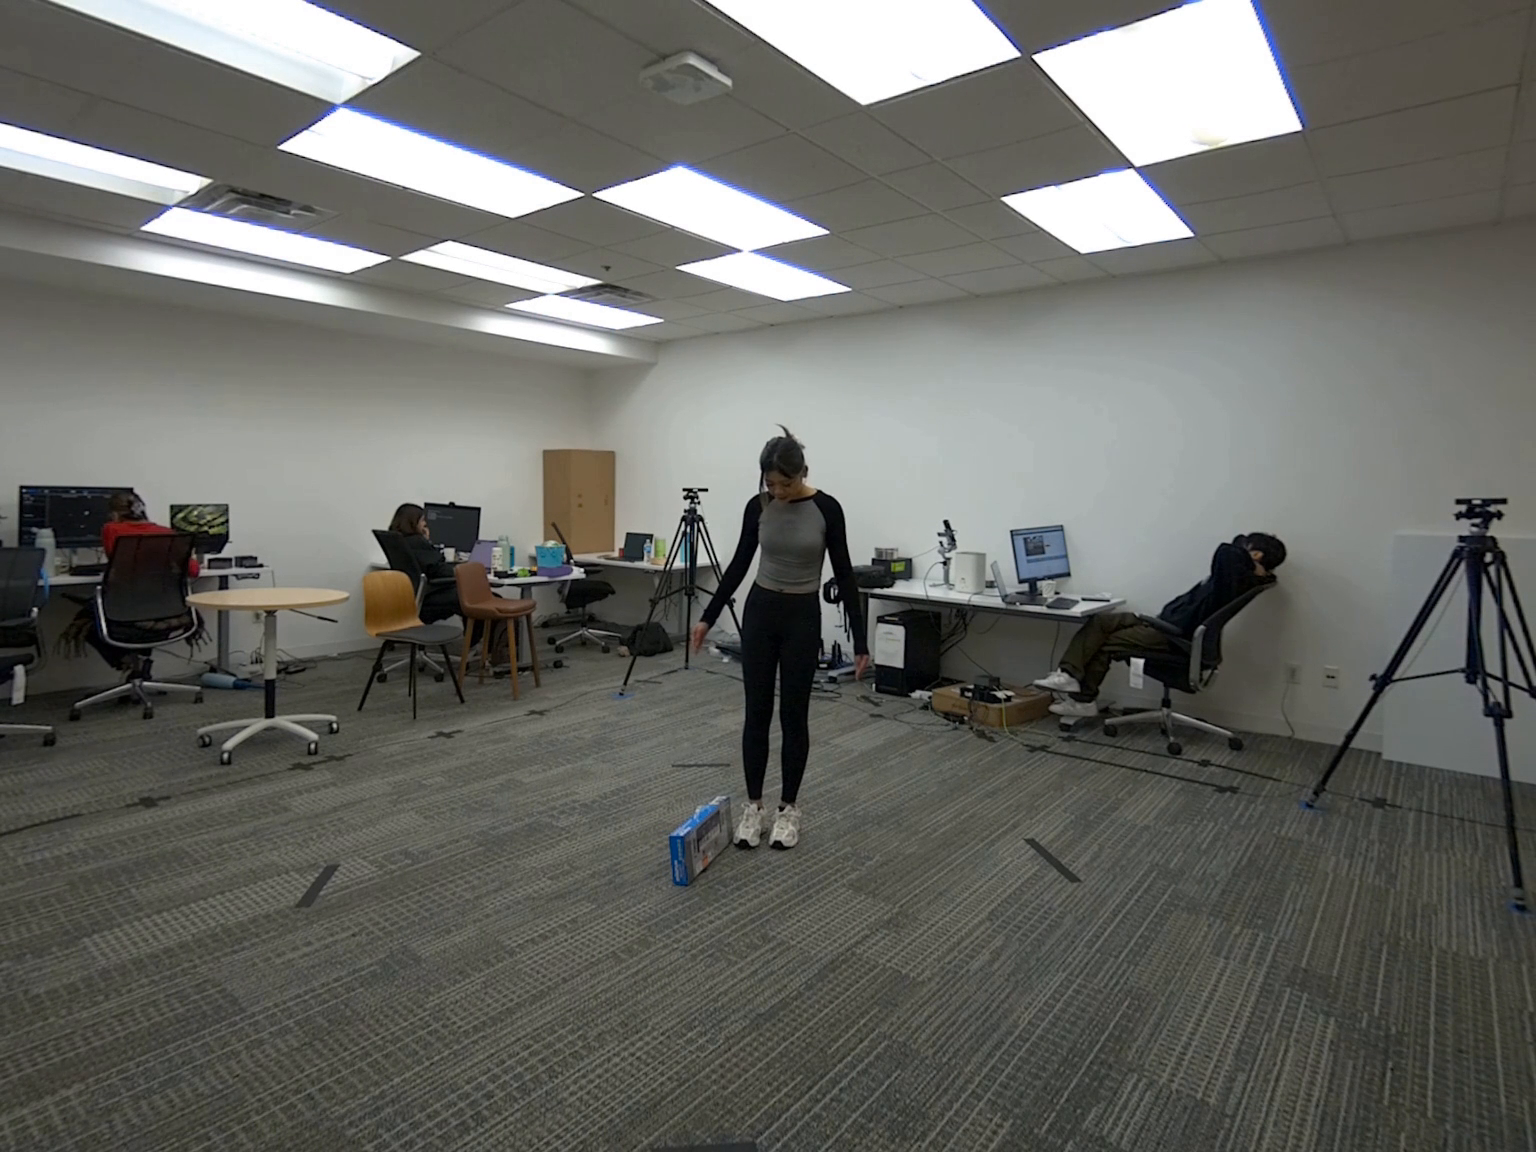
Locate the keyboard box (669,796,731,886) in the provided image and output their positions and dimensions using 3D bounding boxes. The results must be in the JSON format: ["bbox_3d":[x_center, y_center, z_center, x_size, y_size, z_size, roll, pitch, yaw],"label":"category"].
[{"bbox_3d":[-0.250,0.973,3.175,0.060,0.176,0.429,-6,2,20],"label":"keyboard box"}]
